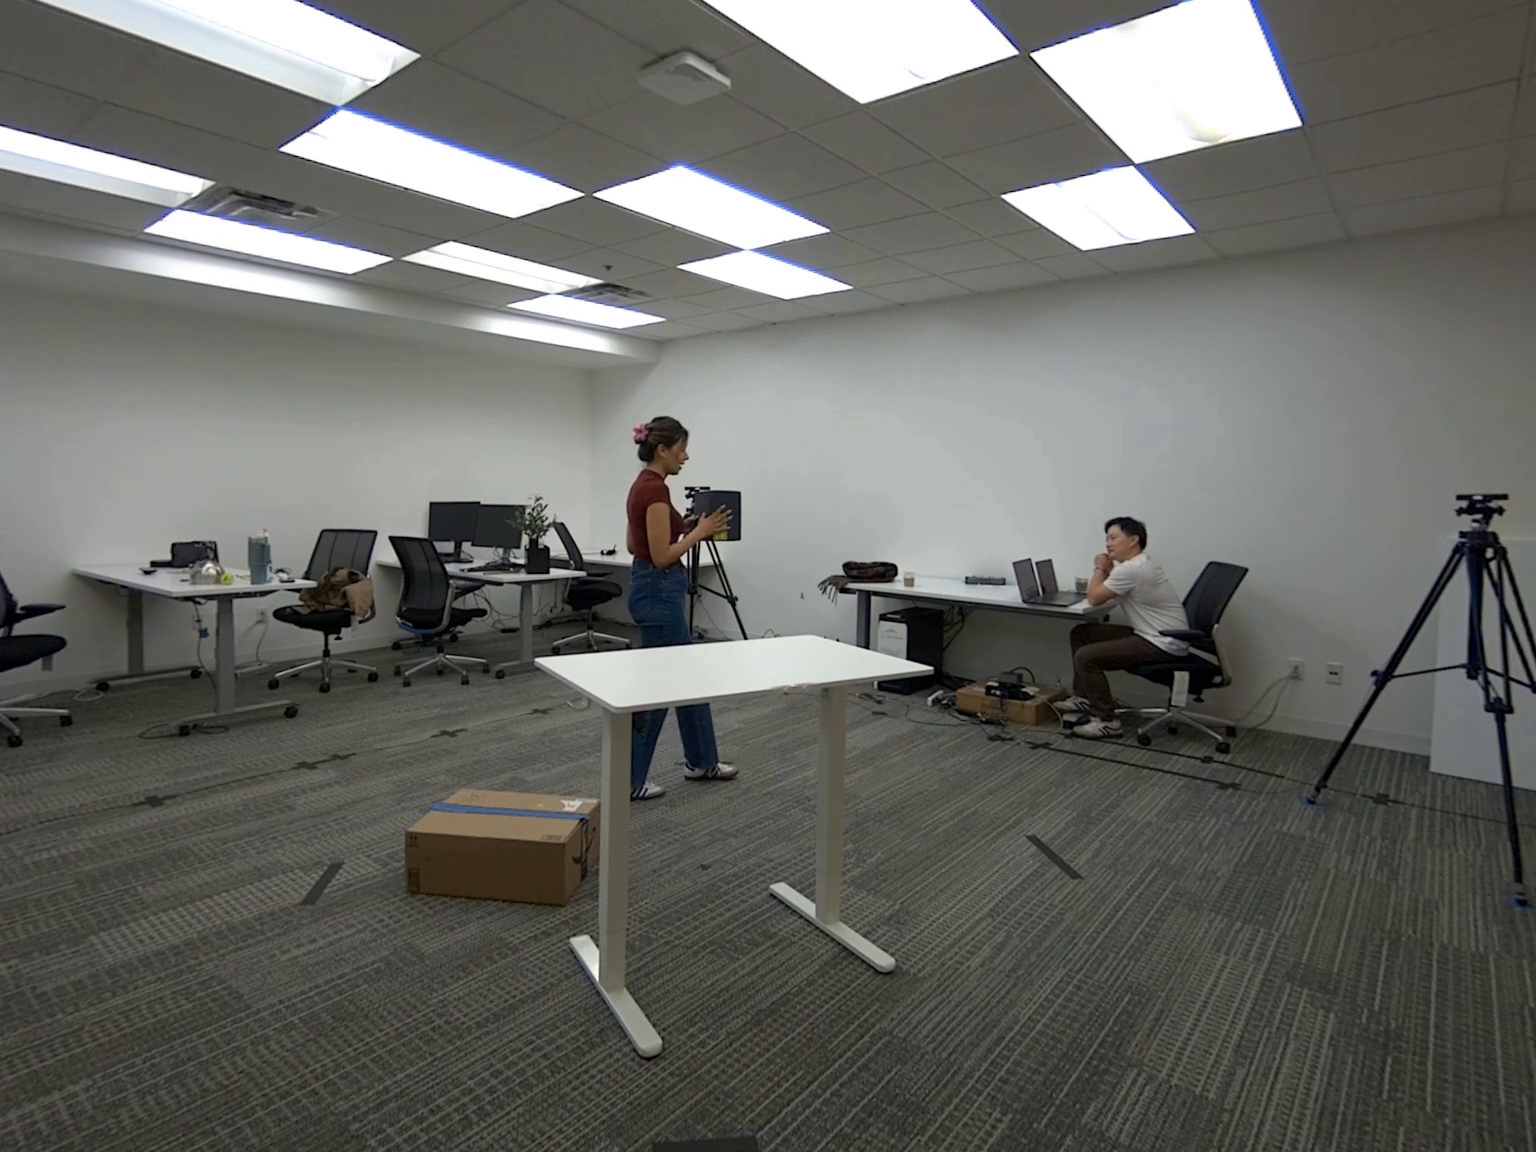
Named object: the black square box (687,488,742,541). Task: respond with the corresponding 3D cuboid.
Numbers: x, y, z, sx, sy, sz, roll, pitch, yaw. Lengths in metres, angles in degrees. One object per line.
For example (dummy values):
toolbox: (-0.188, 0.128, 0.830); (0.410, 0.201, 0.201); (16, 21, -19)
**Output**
black square box: (-0.249, -0.285, 3.952); (0.153, 0.227, 0.222); (0, 3, -22)
